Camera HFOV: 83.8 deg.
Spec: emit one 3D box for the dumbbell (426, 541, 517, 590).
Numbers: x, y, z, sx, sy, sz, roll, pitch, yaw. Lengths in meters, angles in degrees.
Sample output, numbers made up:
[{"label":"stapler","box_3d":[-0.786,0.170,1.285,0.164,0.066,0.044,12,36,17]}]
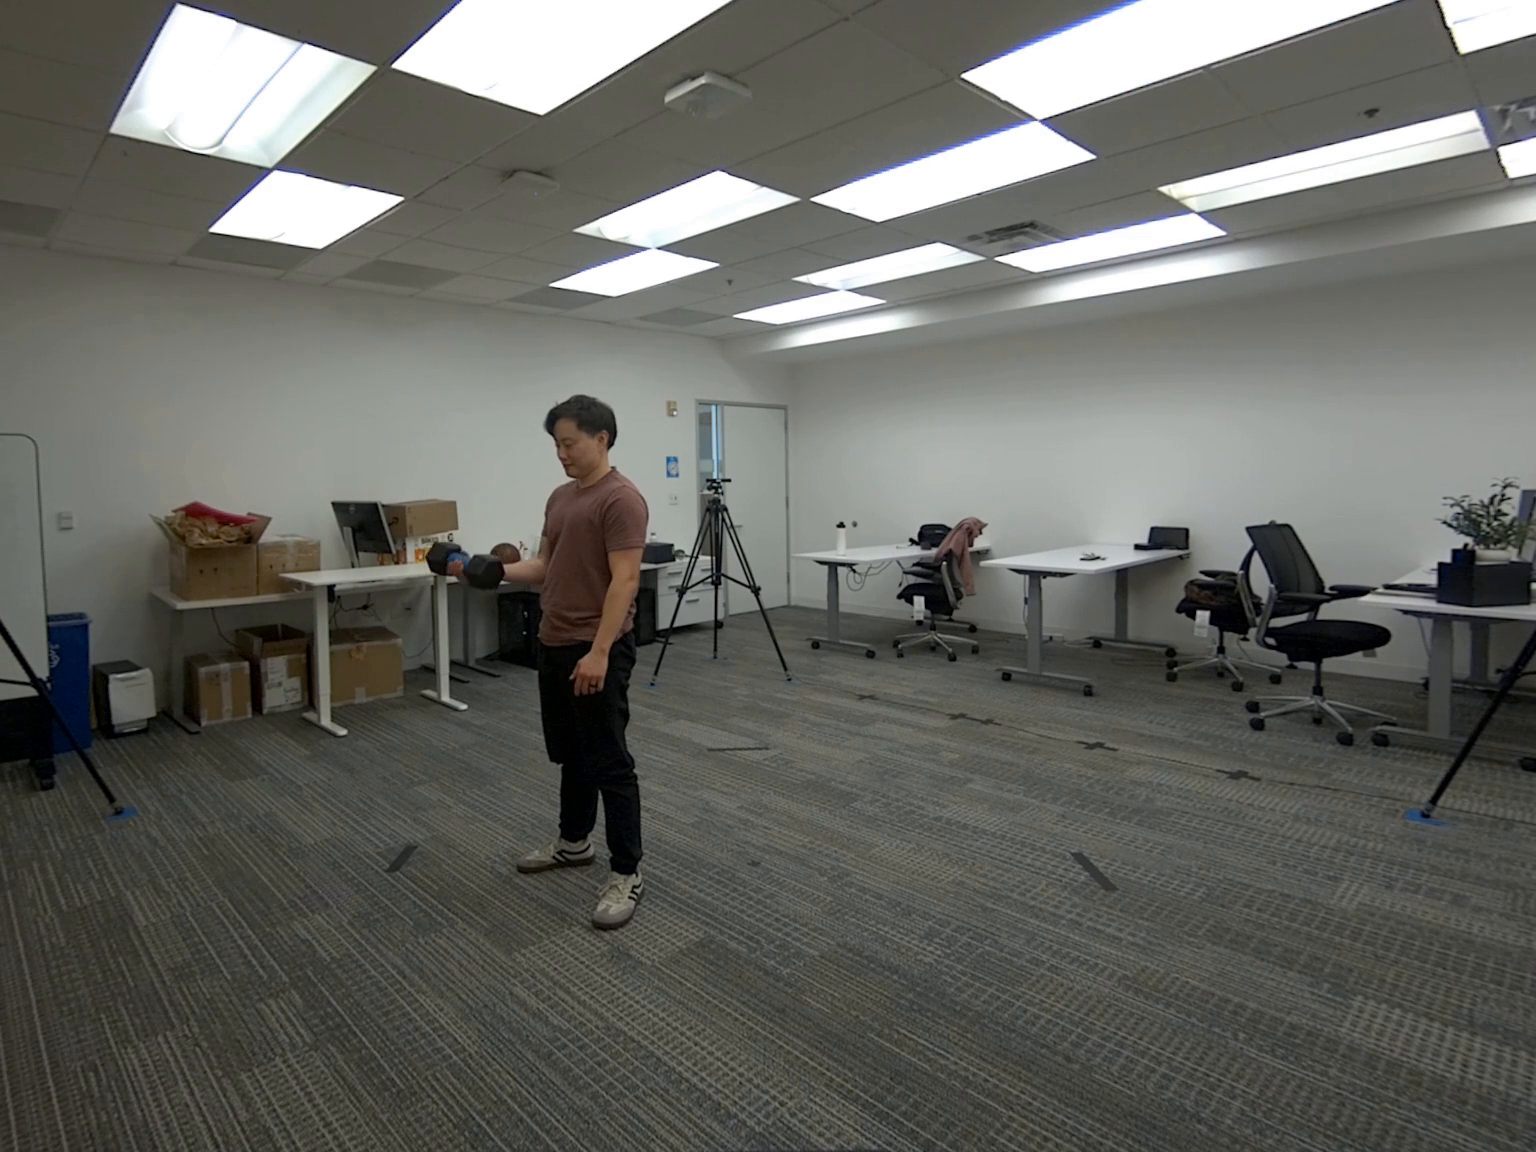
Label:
[{"label":"dumbbell","box_3d":[-1.005,-0.035,2.857,0.303,0.119,0.108,15,39,33]}]
